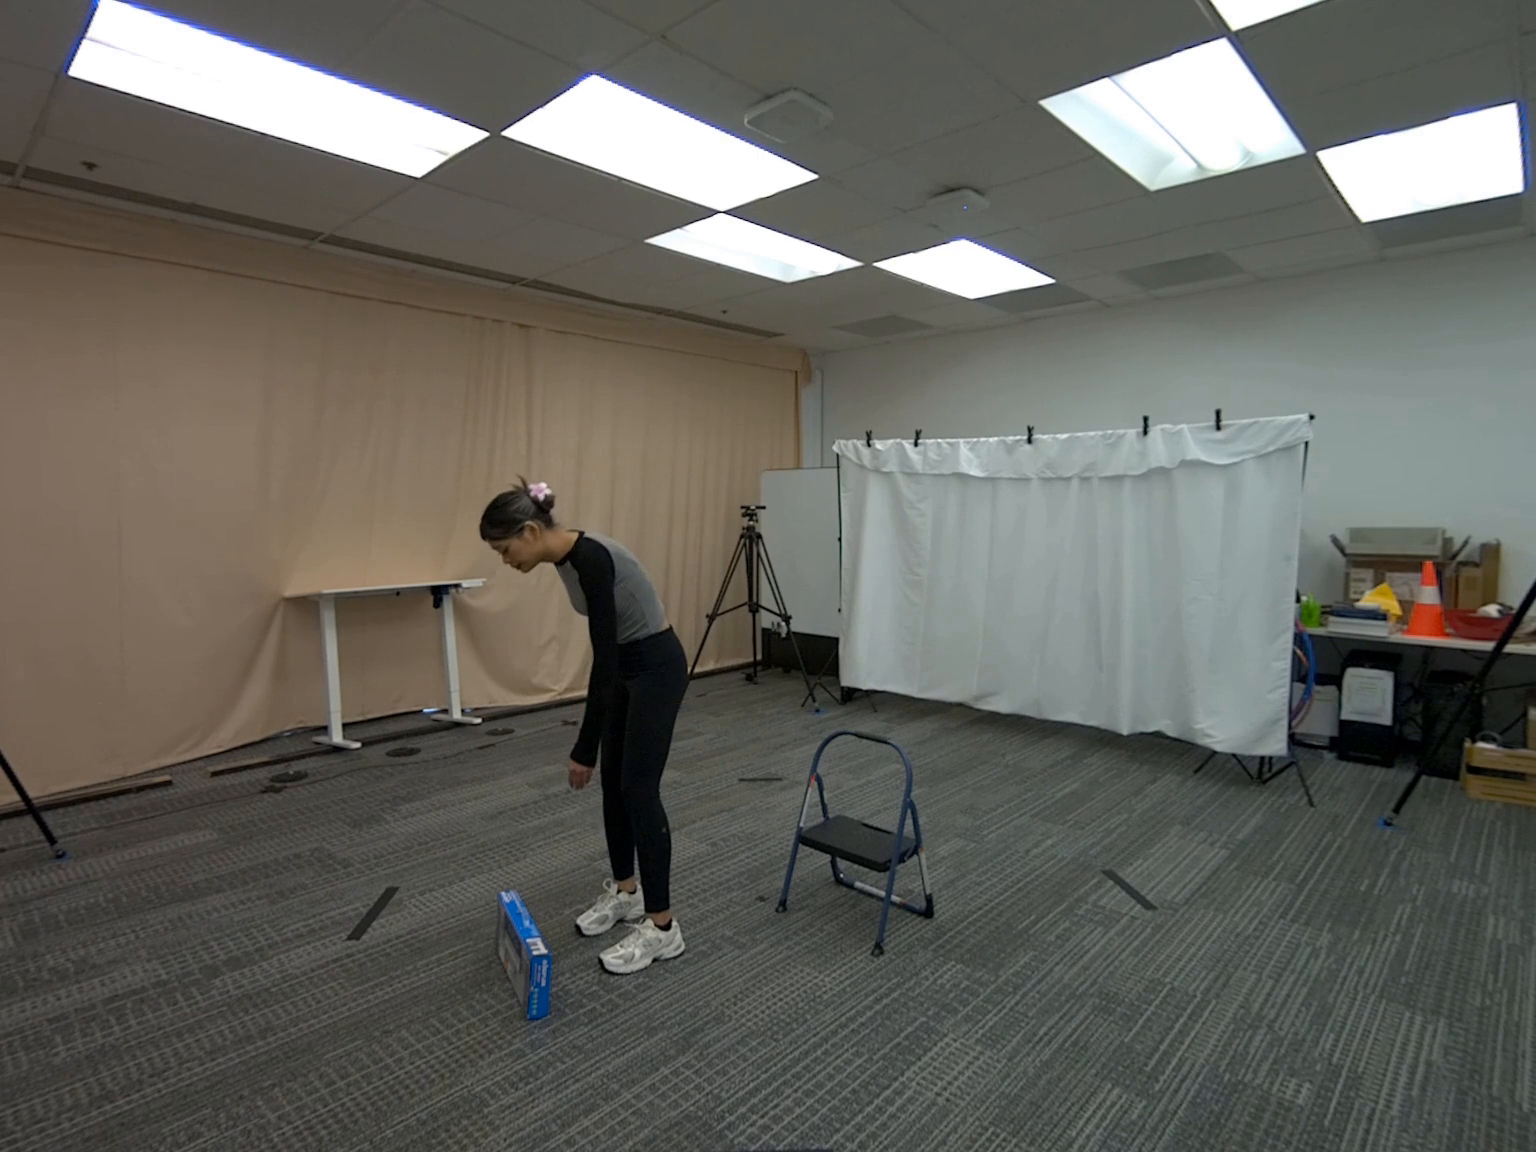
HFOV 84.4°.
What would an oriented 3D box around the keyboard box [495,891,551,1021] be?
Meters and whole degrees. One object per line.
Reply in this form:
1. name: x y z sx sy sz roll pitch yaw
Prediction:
1. keyboard box: -0.725 1.105 2.479 0.057 0.176 0.449 4 2 -29
